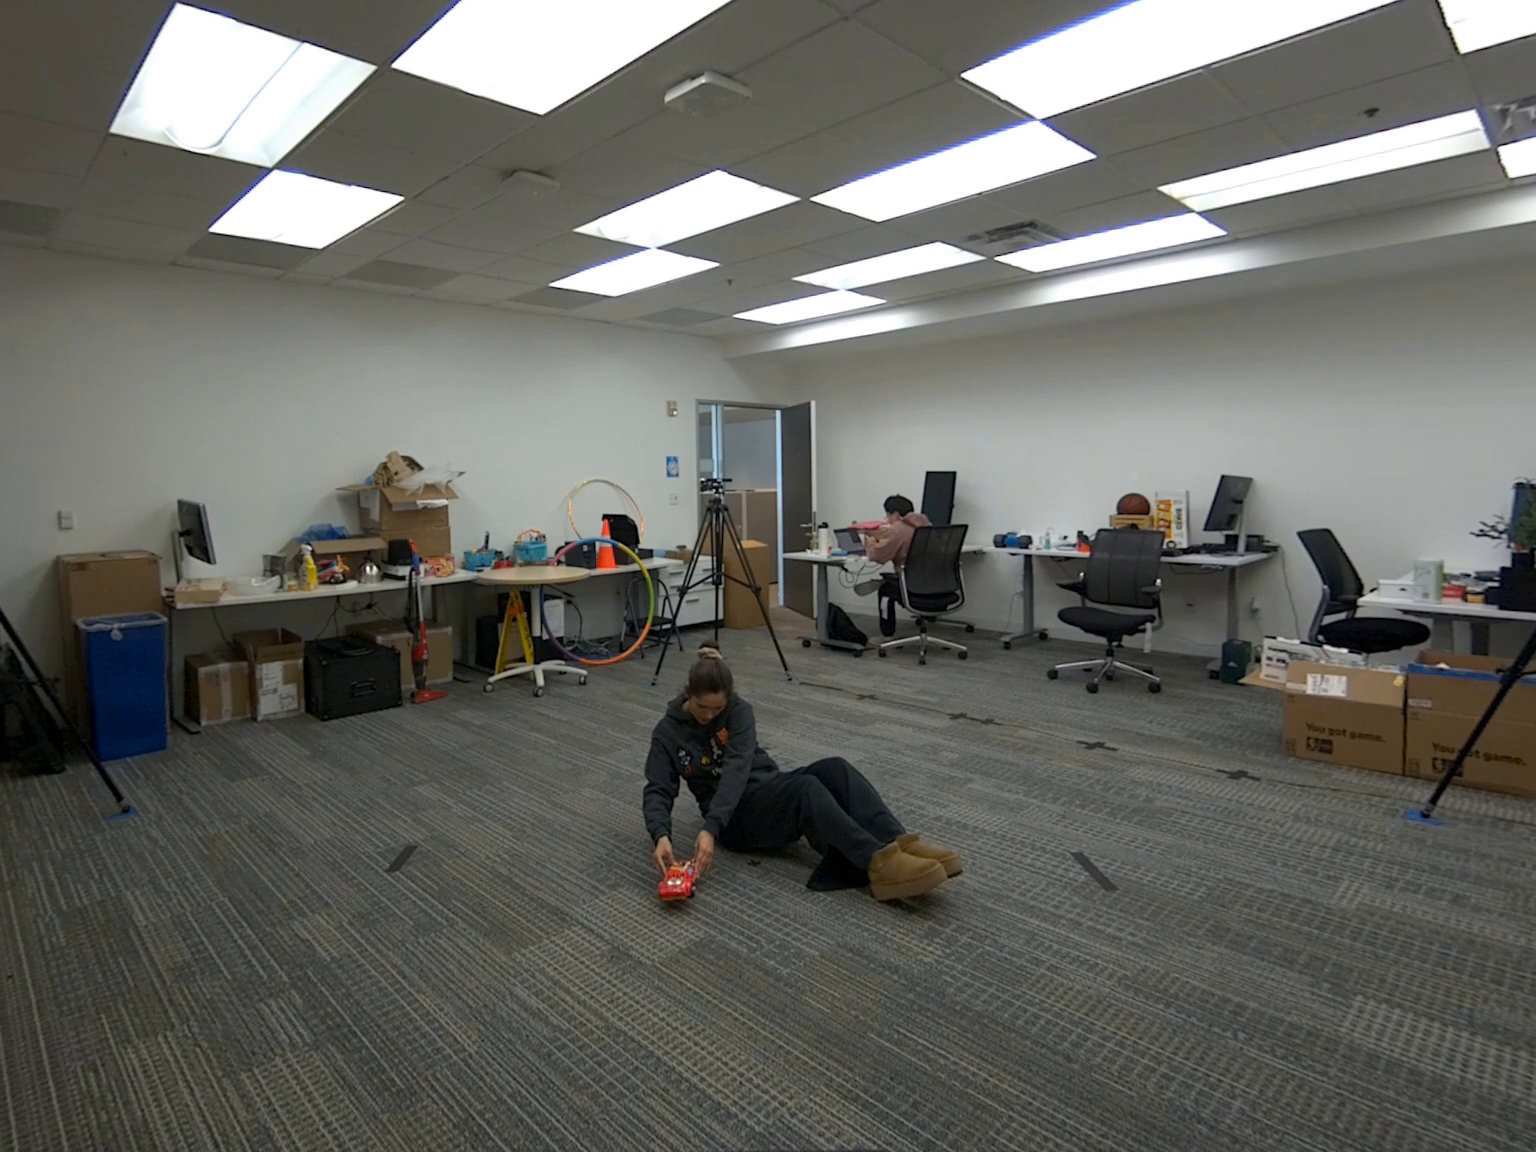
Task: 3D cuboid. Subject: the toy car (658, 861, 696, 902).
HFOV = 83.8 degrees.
[{"bbox_3d":[-0.297,1.025,2.840,0.131,0.084,0.250,-7,-6,8],"label":"toy car"}]
